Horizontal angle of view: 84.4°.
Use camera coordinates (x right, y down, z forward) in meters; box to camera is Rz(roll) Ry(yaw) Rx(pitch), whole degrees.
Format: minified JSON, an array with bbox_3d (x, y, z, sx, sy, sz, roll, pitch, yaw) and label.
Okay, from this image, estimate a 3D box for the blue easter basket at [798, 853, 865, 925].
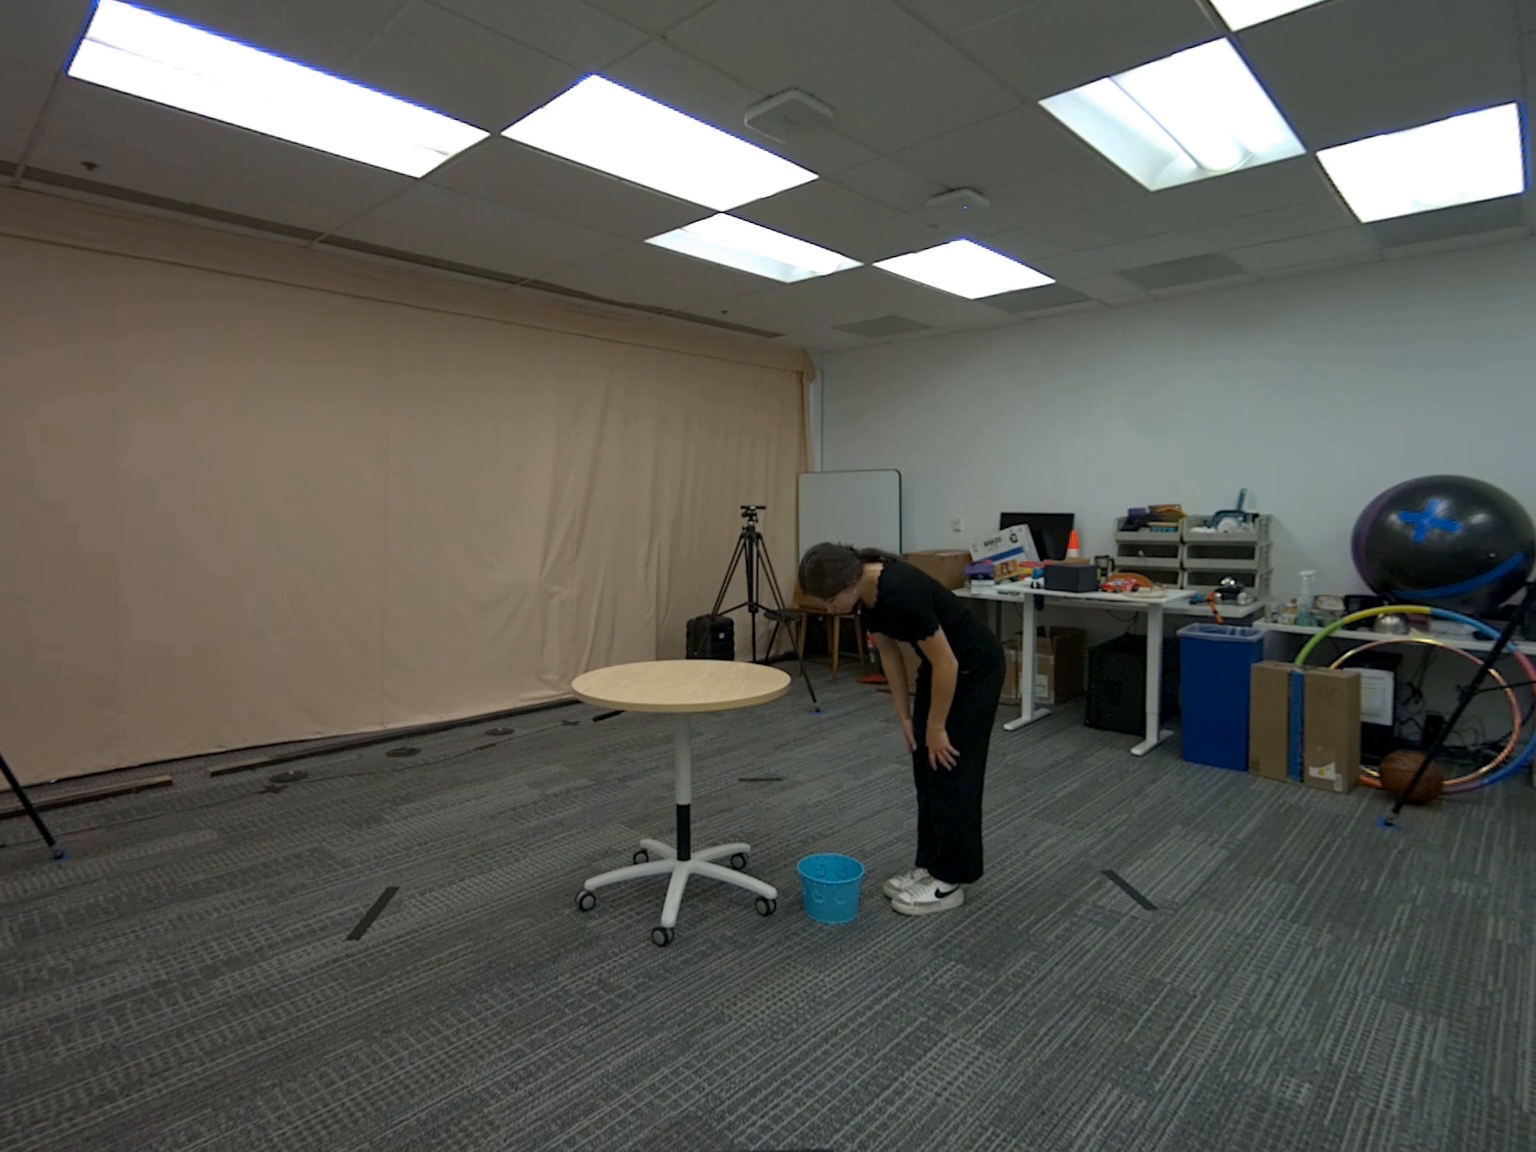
[{"bbox_3d":[0.231,1.078,2.892,0.243,0.155,0.244,-1,5,-2],"label":"blue easter basket"}]
